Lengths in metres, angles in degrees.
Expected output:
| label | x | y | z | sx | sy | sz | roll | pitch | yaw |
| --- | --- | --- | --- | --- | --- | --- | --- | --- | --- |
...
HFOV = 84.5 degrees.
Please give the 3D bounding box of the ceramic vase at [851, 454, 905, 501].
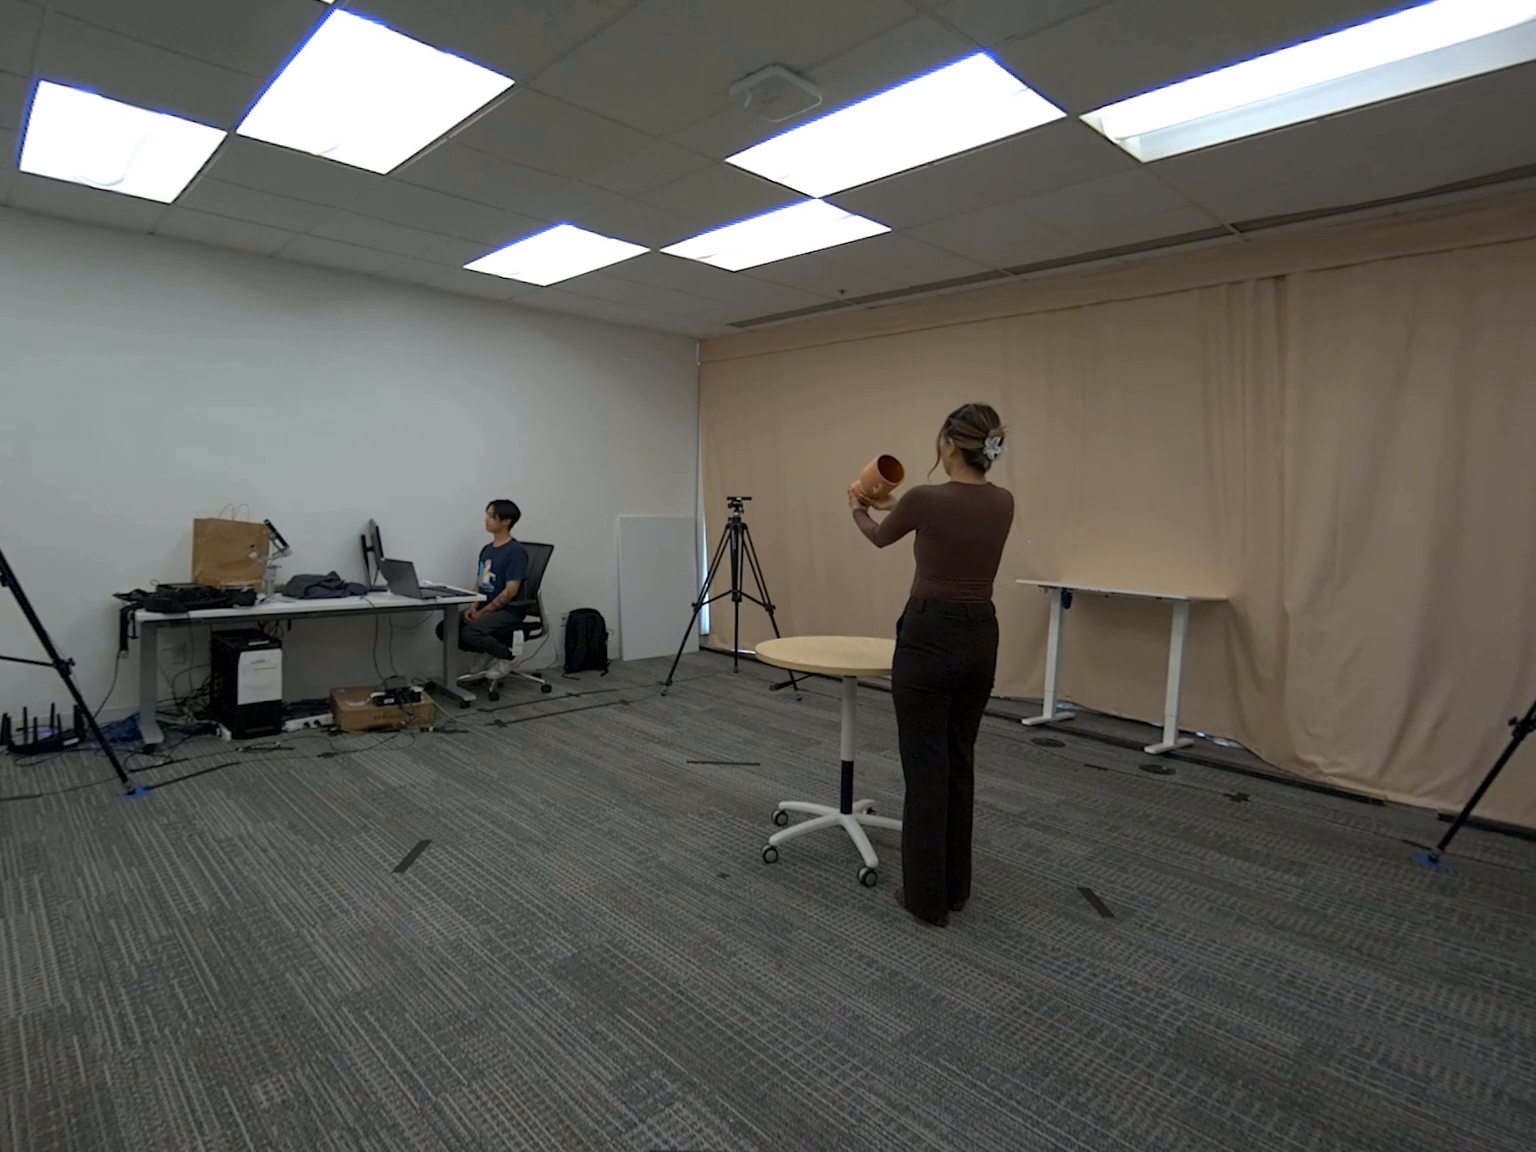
| label | x | y | z | sx | sy | sz | roll | pitch | yaw |
| --- | --- | --- | --- | --- | --- | --- | --- | --- | --- |
| ceramic vase | 0.394 | -0.358 | 3.204 | 0.156 | 0.136 | 0.220 | -18 | -12 | -33 |
